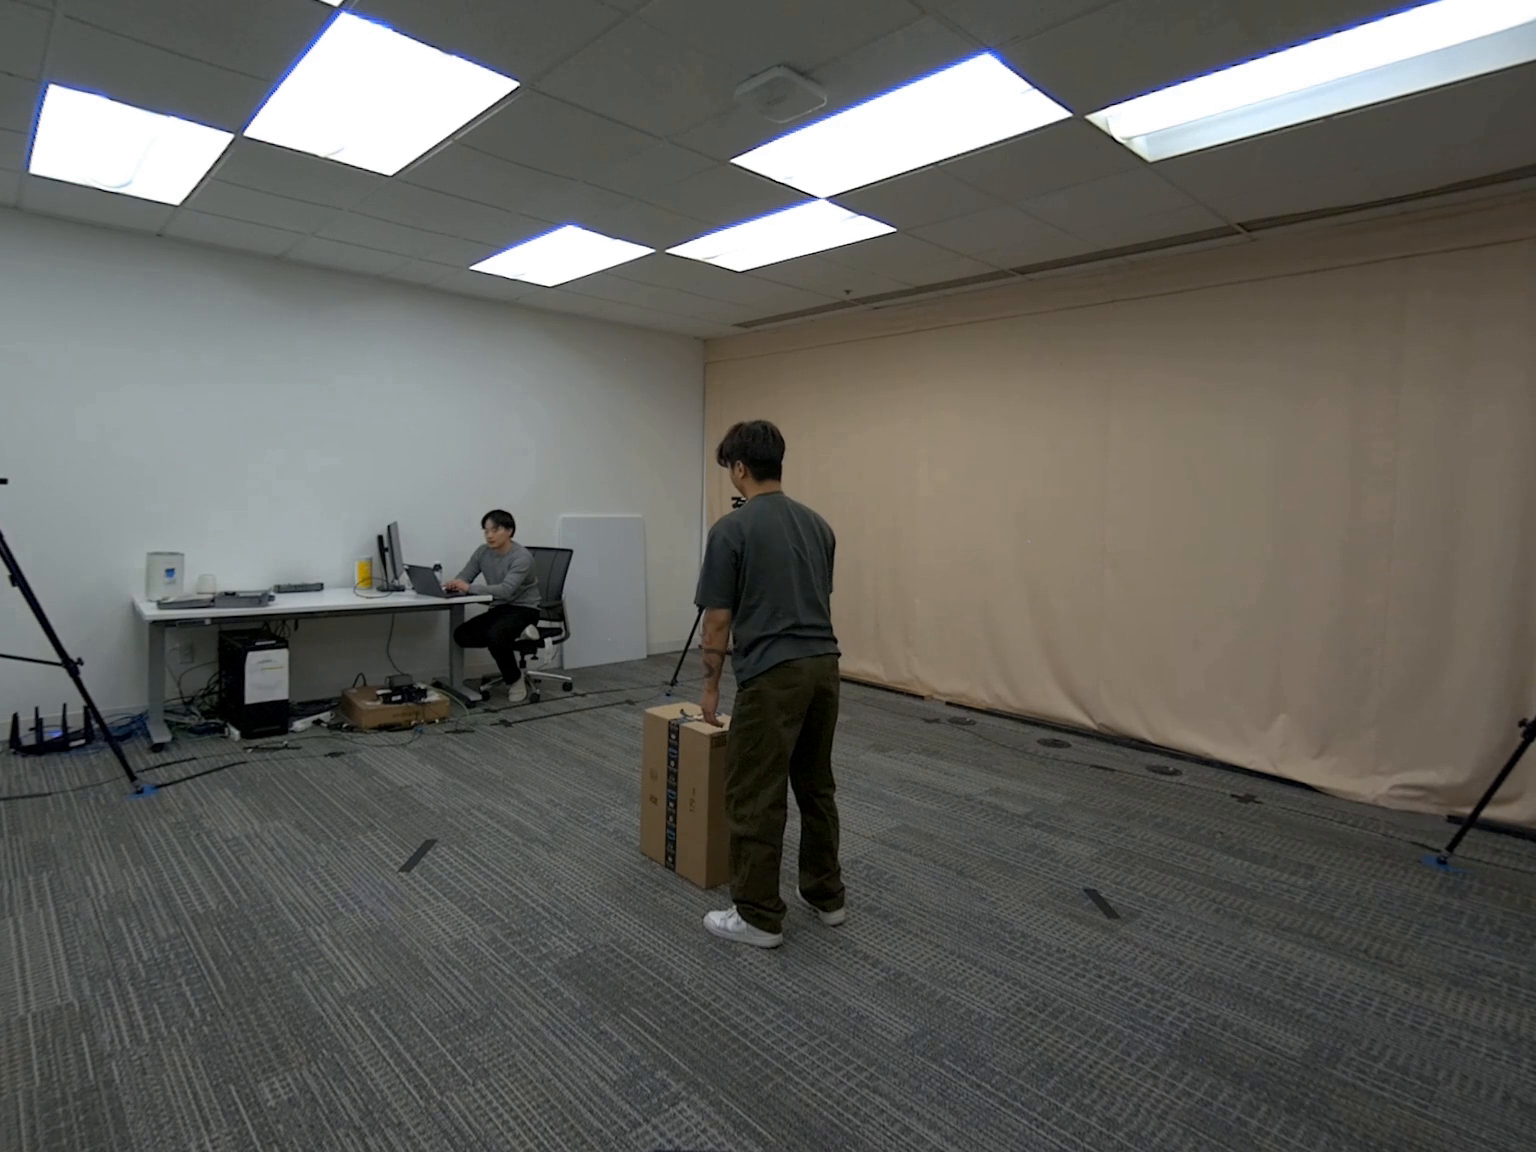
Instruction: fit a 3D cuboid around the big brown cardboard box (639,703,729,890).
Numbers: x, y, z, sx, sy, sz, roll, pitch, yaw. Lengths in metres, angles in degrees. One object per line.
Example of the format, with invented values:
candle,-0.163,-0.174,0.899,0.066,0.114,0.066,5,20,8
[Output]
big brown cardboard box,-0.282,0.809,3.193,0.228,0.587,0.428,0,5,-42
